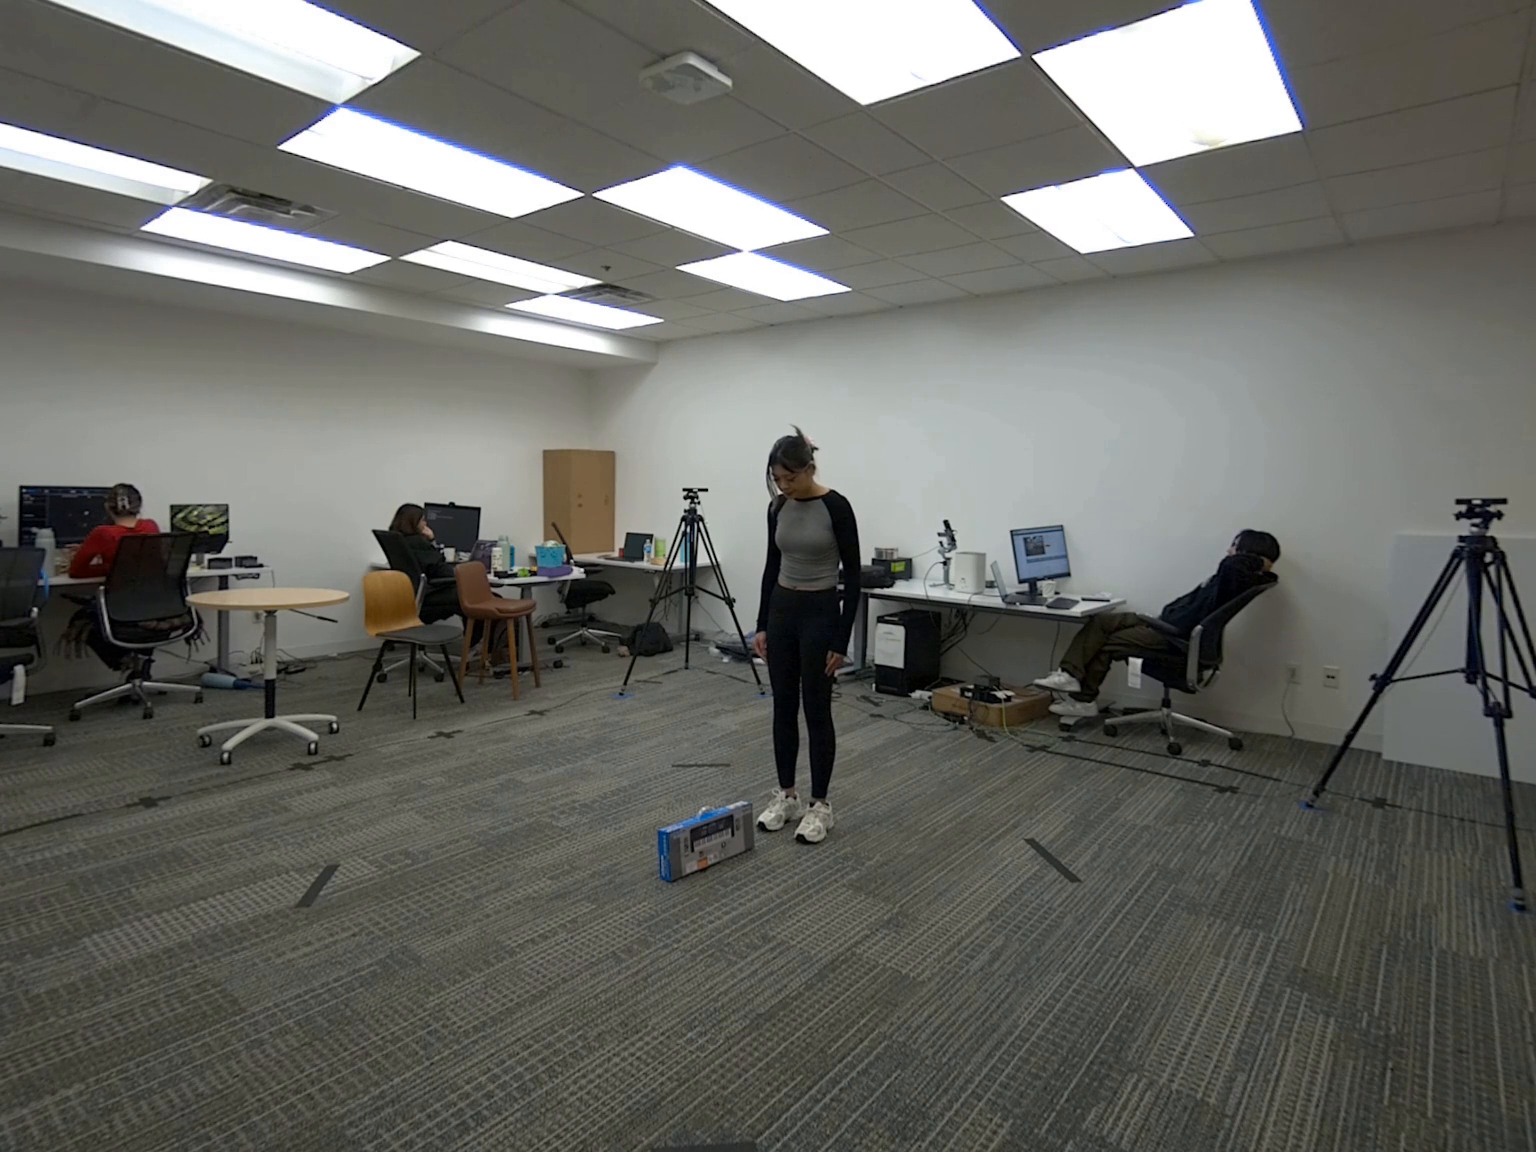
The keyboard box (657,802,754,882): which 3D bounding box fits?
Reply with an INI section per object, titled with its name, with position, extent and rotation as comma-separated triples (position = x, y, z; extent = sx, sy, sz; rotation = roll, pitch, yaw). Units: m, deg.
[keyboard box]
position = -0.231, 0.978, 3.163
extent = 0.061, 0.176, 0.424
rotation = -5, 0, 44
